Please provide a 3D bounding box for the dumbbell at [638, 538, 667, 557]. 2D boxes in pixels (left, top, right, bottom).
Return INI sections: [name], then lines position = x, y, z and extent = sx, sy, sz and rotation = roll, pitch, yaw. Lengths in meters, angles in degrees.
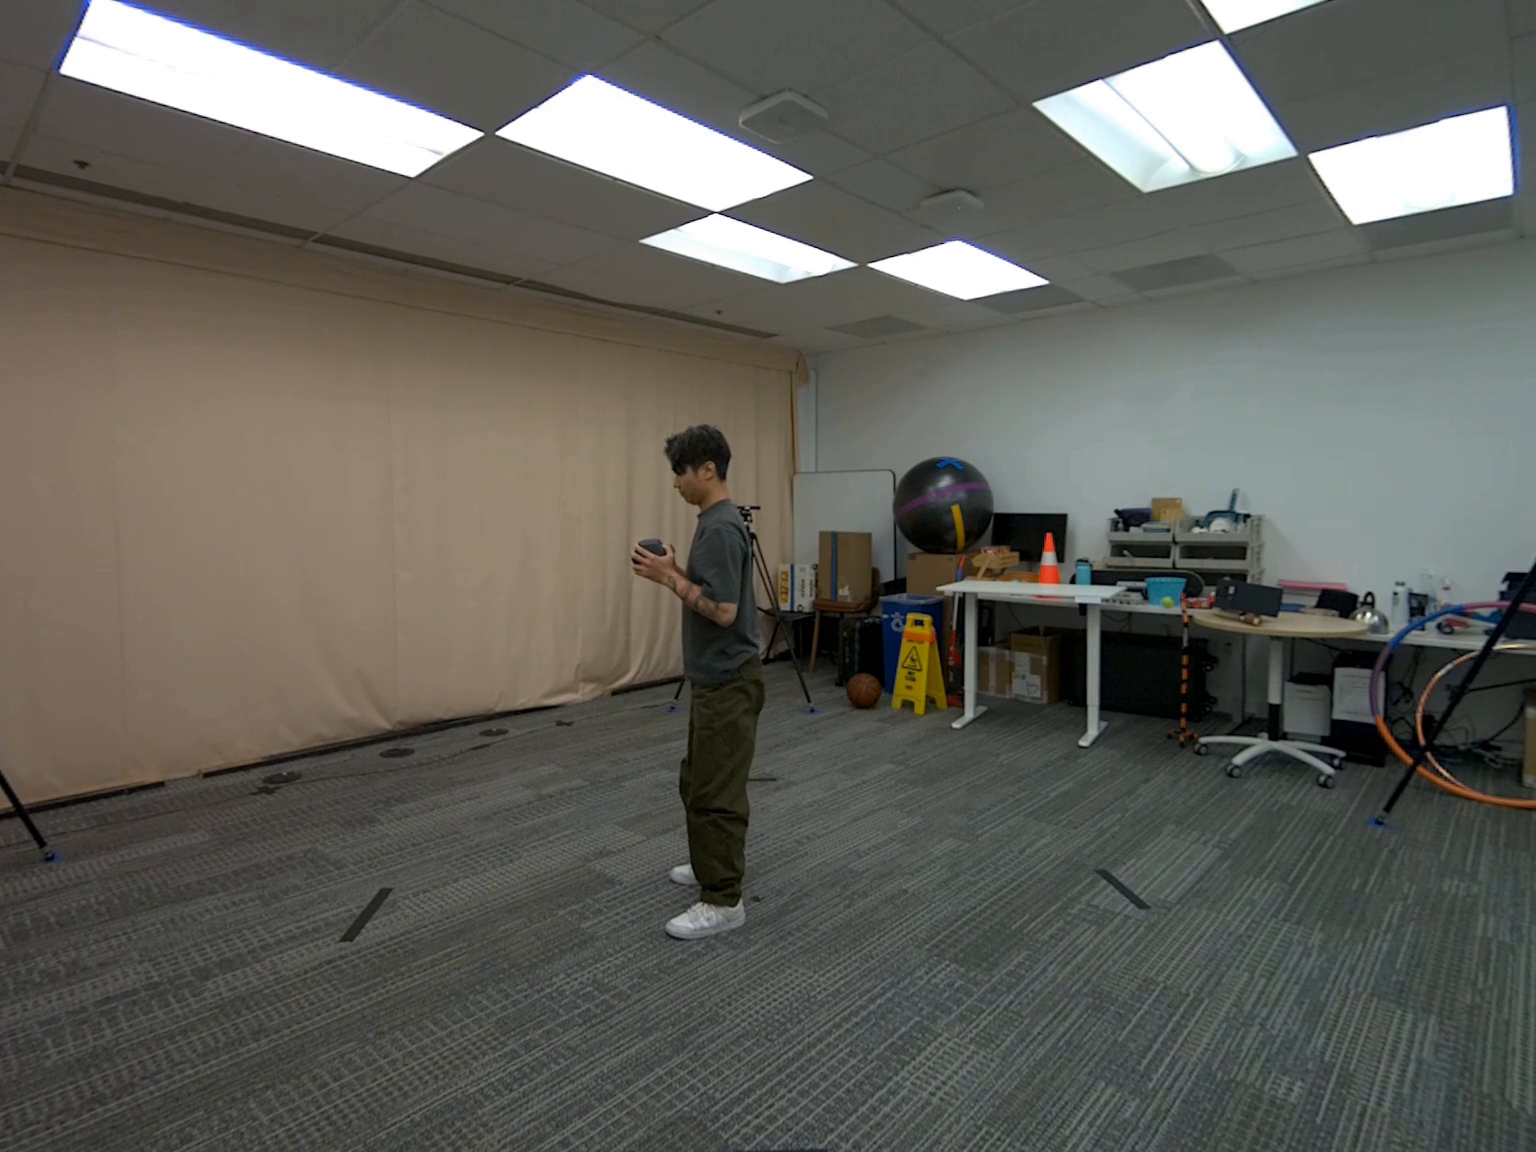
[dumbbell]
position = -0.384, -0.064, 2.909
extent = 0.108, 0.123, 0.295
rotation = -30, 4, -4
